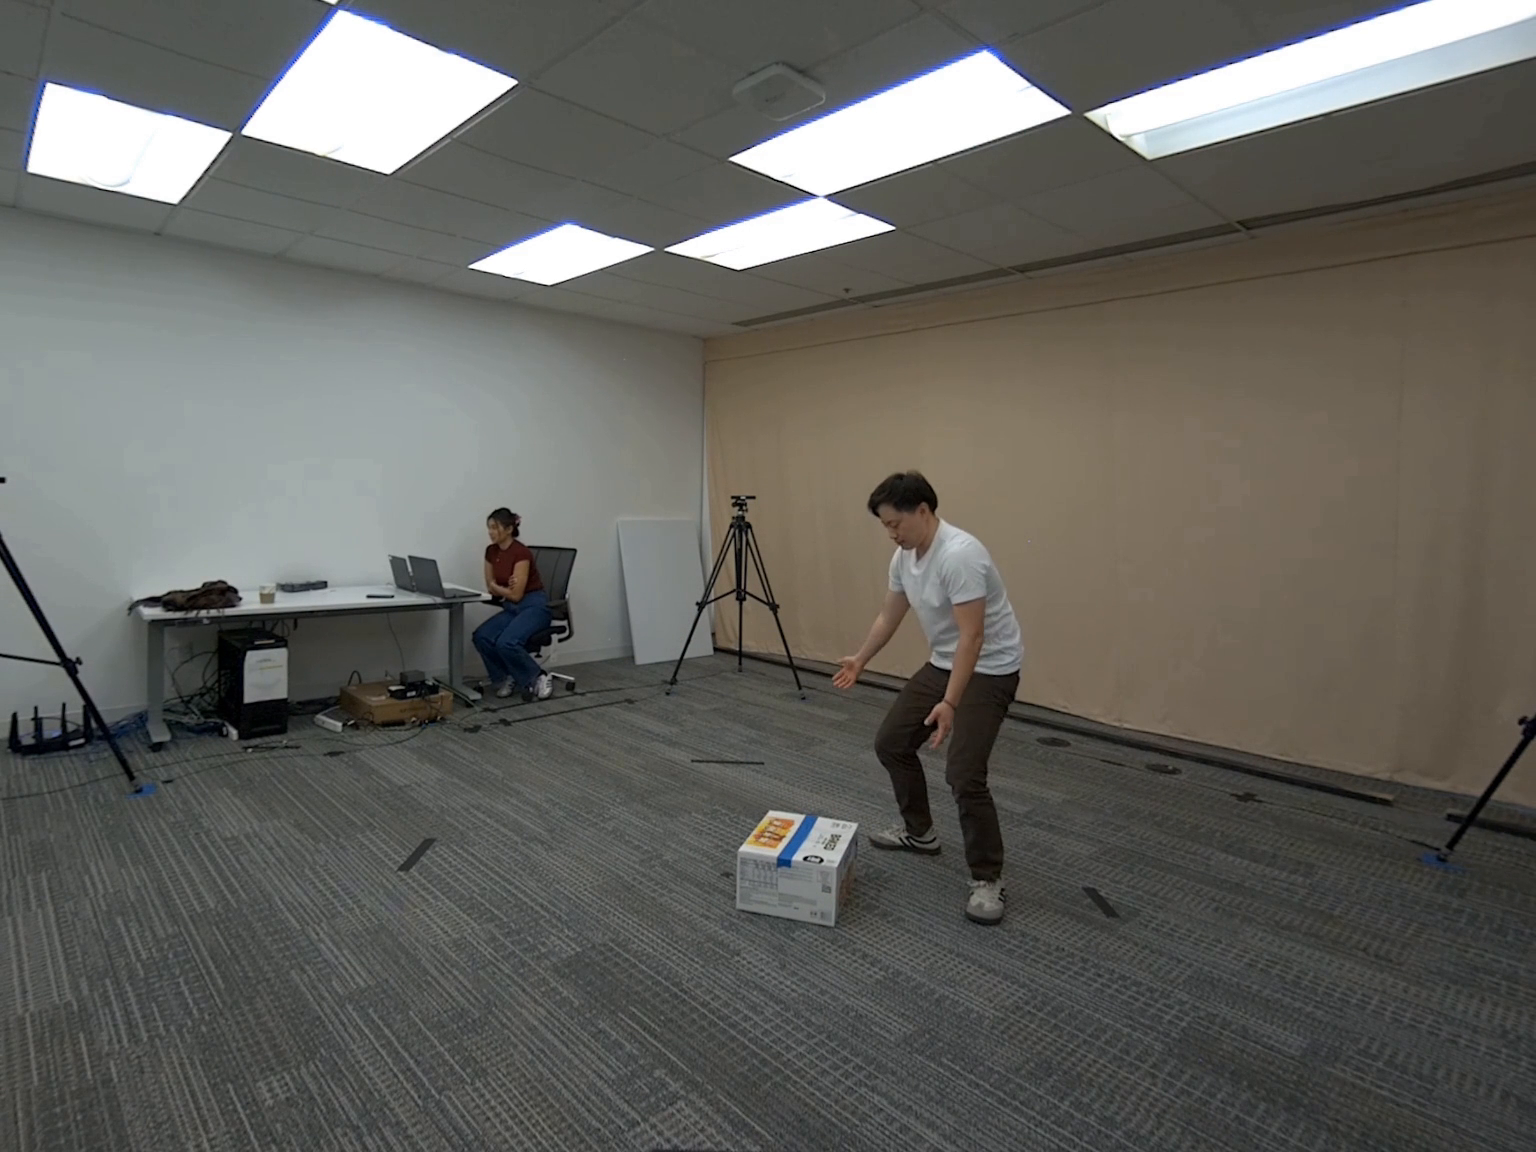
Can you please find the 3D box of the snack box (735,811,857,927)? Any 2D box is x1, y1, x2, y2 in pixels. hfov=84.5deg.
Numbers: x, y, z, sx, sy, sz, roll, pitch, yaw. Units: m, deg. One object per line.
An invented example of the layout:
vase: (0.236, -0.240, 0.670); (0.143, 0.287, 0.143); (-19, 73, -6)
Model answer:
snack box: (0.103, 1.017, 2.963); (0.345, 0.205, 0.400); (2, 5, 17)
